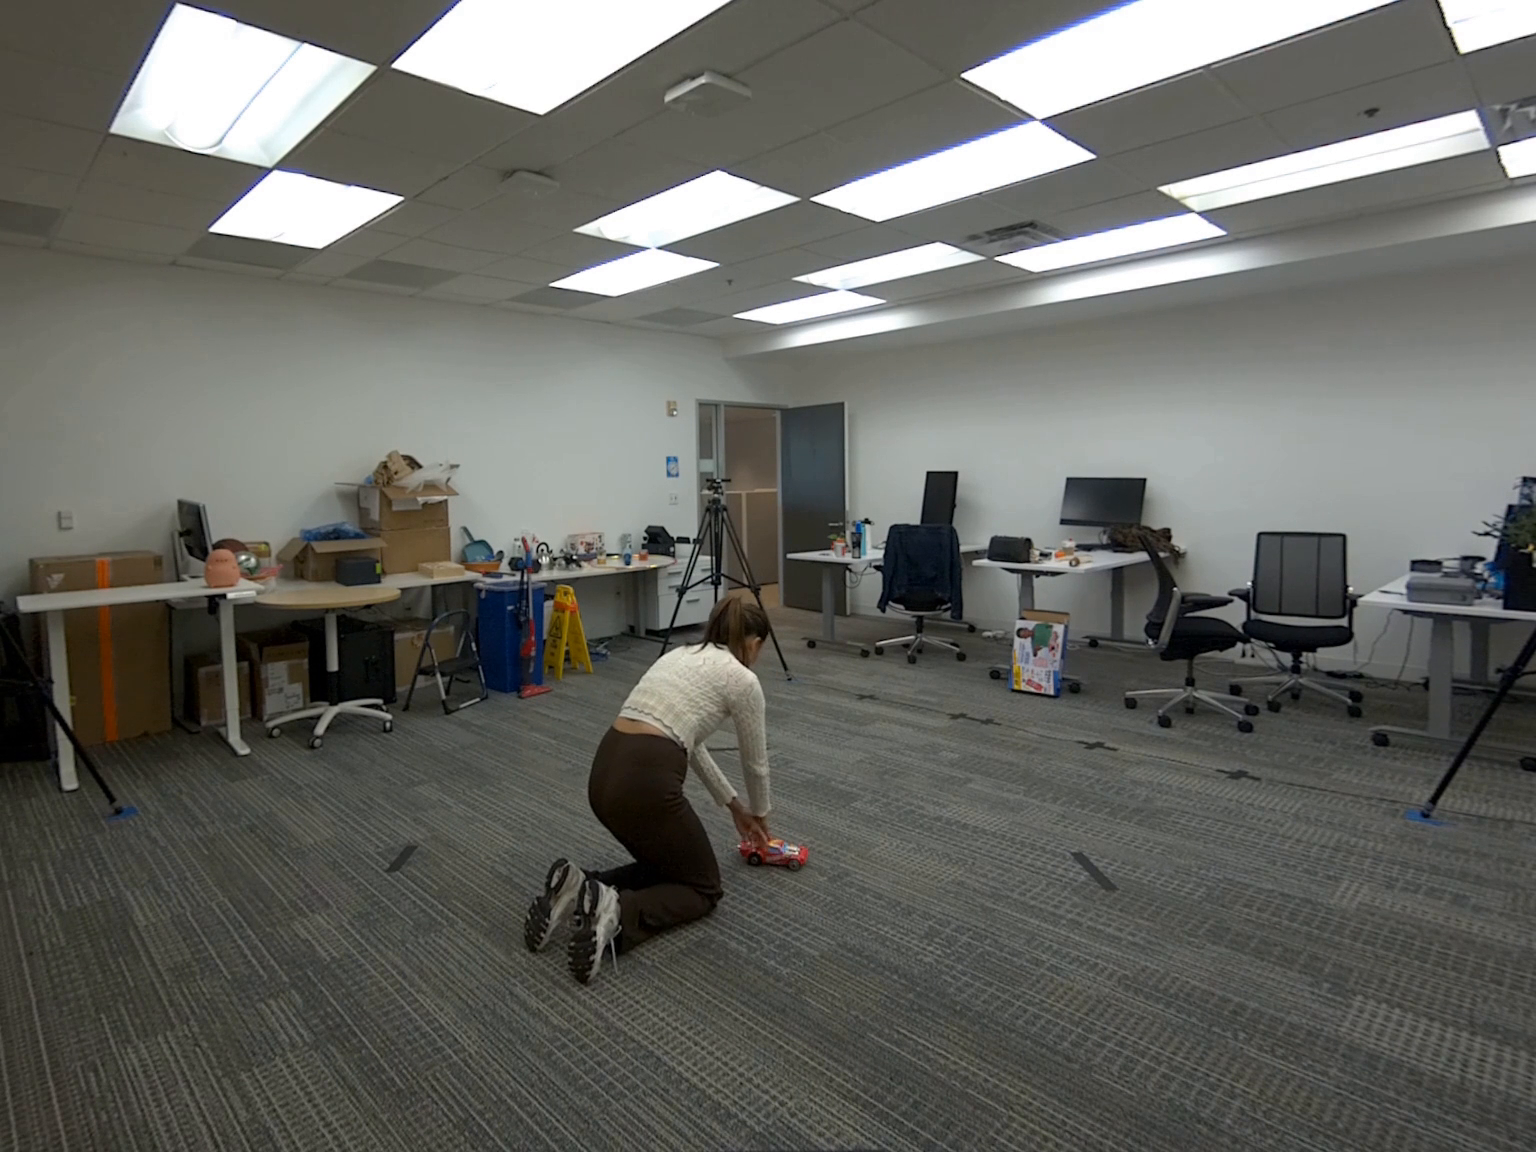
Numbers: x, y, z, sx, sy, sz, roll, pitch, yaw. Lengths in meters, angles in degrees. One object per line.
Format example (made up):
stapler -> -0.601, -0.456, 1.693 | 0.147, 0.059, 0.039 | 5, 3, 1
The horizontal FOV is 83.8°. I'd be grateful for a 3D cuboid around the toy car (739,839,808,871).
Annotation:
toy car -> 0.016, 1.010, 3.116 | 0.259, 0.083, 0.129 | 12, 9, 16
